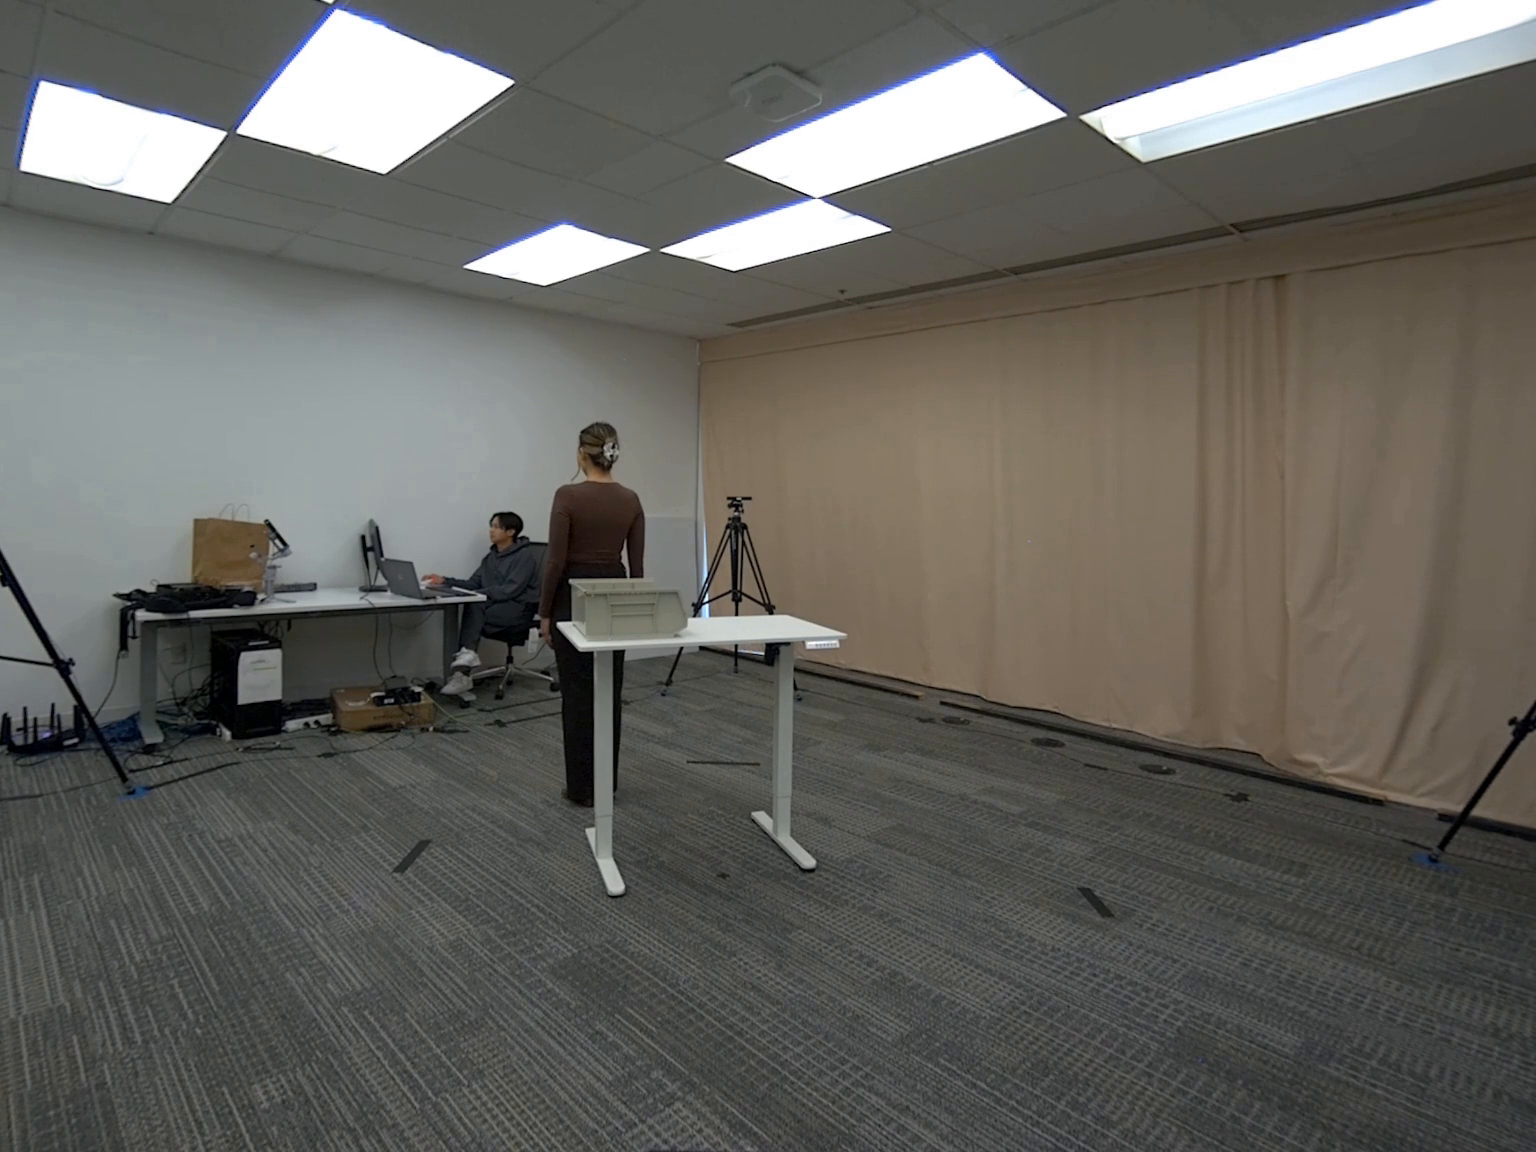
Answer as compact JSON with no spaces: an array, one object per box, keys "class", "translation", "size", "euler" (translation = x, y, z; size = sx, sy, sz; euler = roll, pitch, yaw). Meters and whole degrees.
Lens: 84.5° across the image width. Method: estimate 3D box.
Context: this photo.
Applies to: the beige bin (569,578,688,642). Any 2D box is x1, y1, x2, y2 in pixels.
[{"class":"beige bin","translation":[-0.545,0.122,3.182],"size":[0.372,0.188,0.430],"euler":[-3,6,-20]}]
